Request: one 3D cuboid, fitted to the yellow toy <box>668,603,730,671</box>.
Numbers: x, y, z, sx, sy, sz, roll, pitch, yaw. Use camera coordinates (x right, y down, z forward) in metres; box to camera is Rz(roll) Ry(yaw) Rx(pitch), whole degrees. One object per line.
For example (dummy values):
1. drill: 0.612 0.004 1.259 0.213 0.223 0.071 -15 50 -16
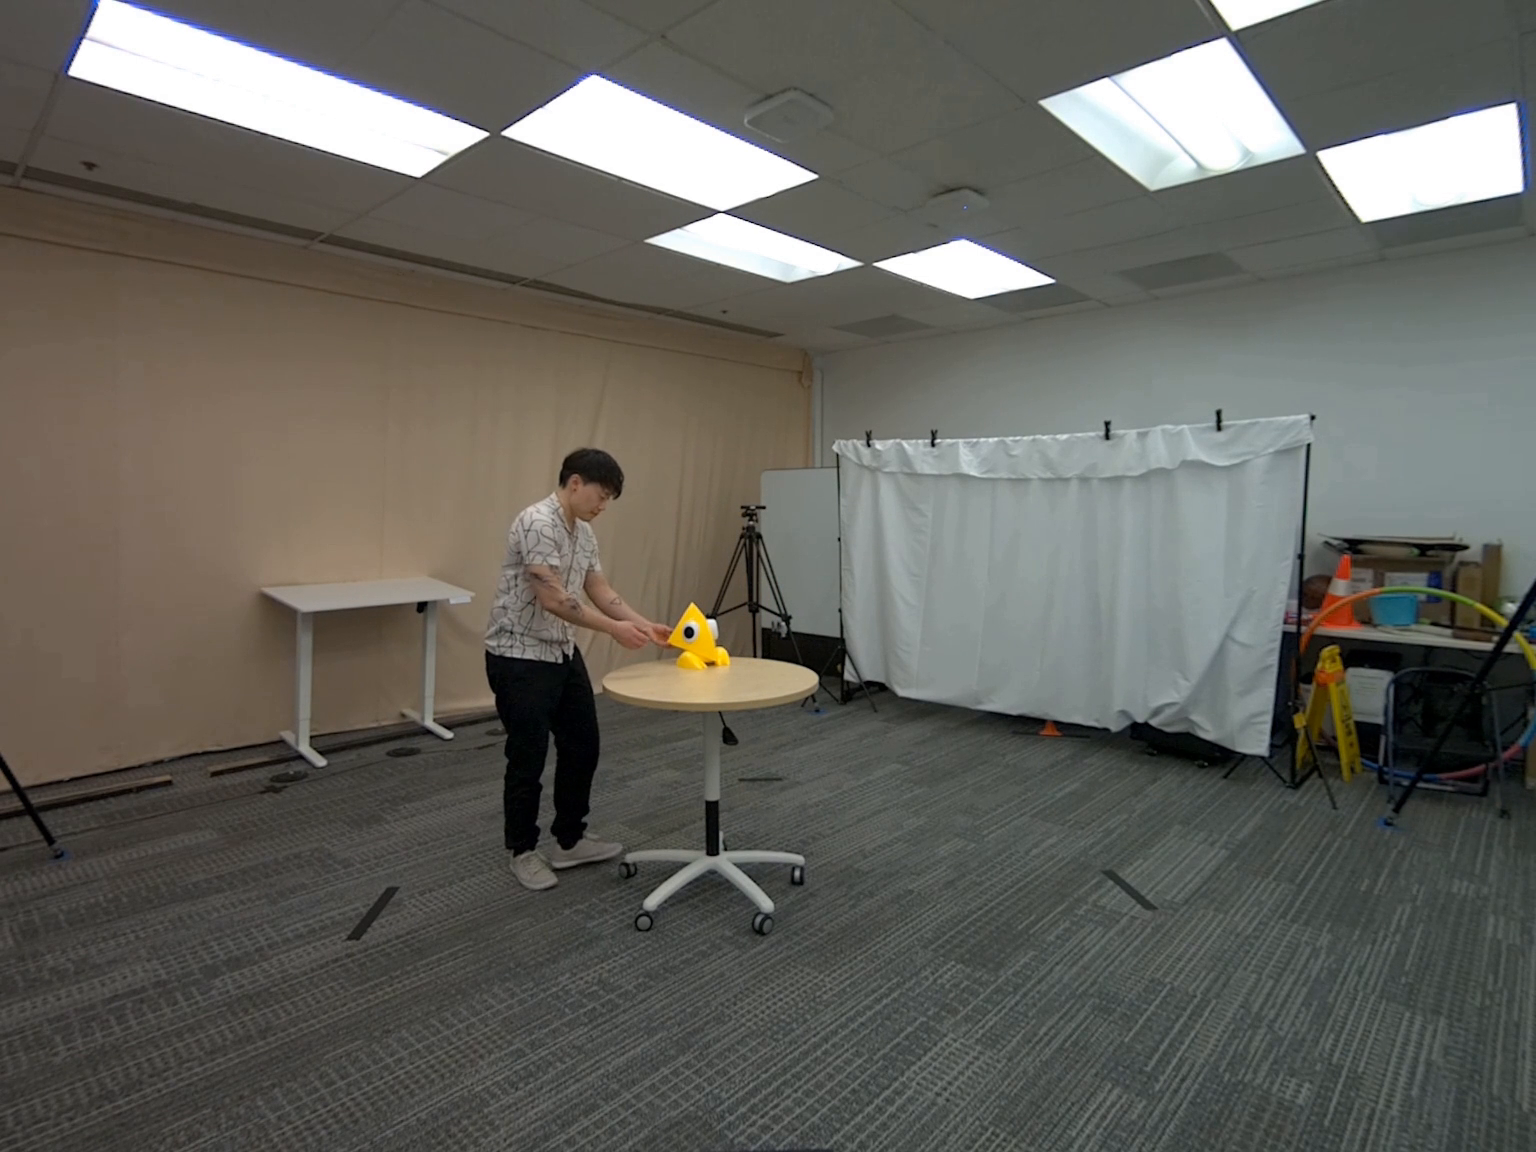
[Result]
1. yellow toy: -0.253 0.224 3.237 0.199 0.230 0.199 -3 5 -38
